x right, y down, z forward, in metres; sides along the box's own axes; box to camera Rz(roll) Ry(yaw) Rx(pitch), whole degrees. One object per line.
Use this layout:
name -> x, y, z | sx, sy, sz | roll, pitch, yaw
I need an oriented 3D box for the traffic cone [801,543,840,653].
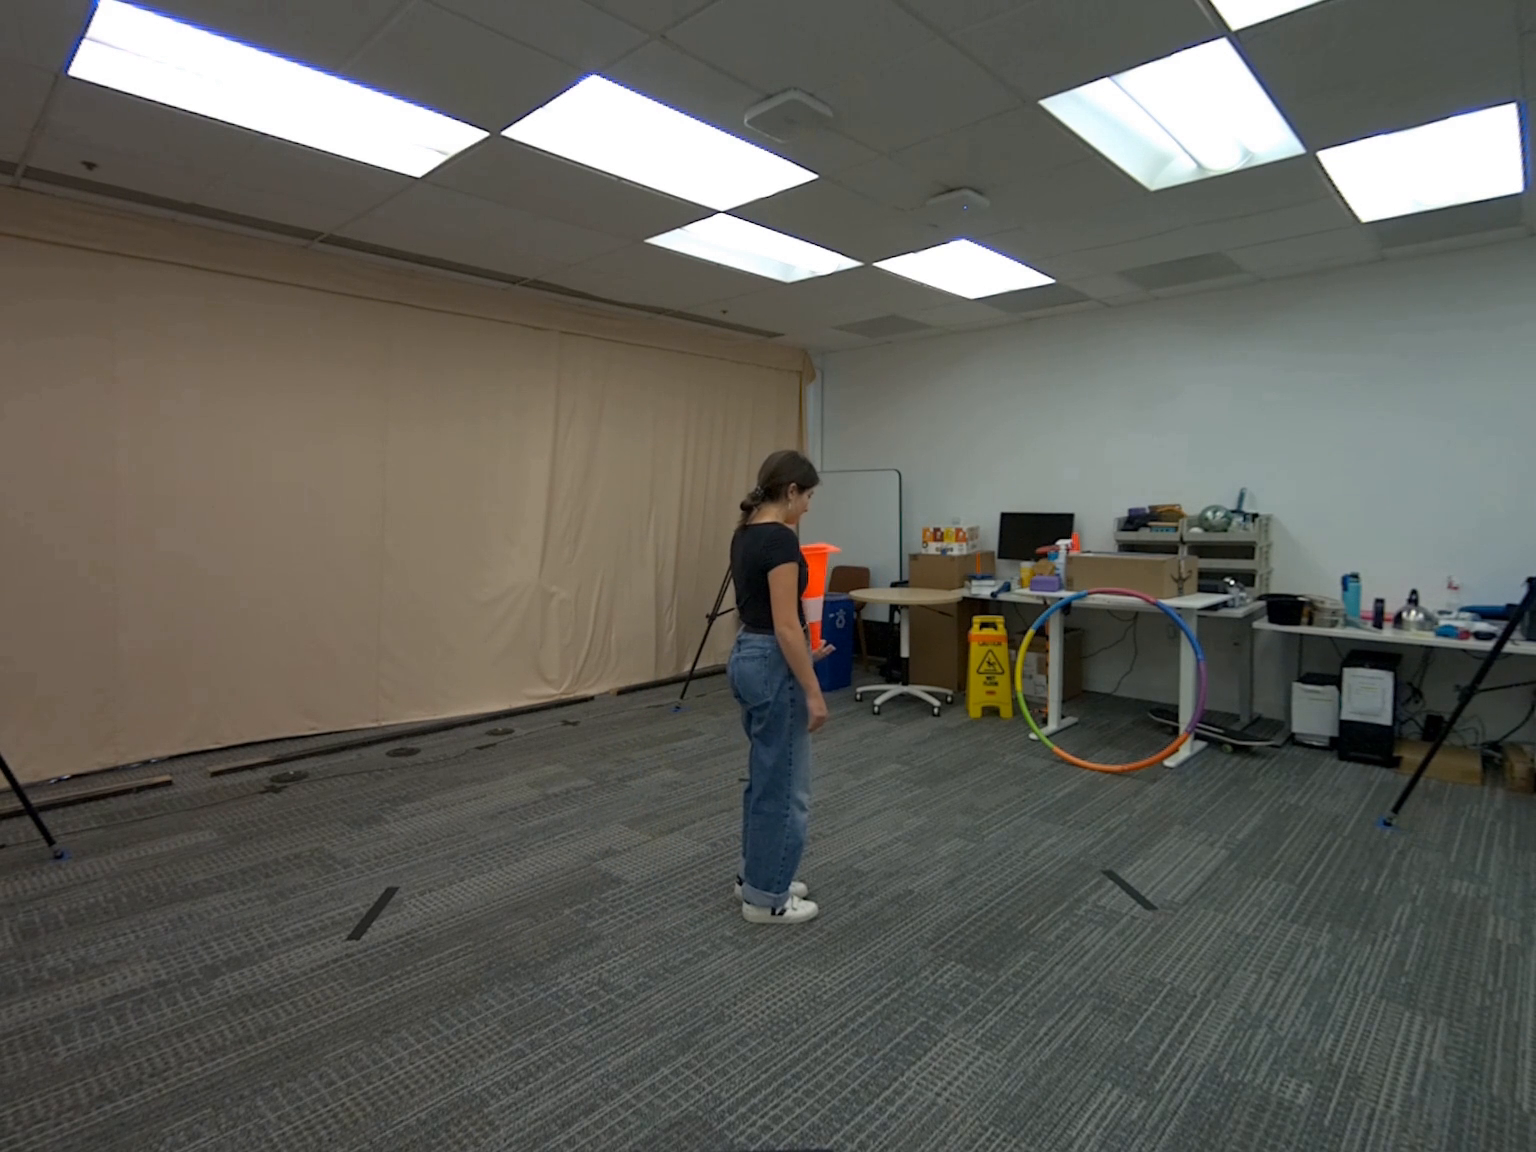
traffic cone -> 0.164, 0.096, 2.993 | 0.201, 0.382, 0.208 | -8, 6, -11
